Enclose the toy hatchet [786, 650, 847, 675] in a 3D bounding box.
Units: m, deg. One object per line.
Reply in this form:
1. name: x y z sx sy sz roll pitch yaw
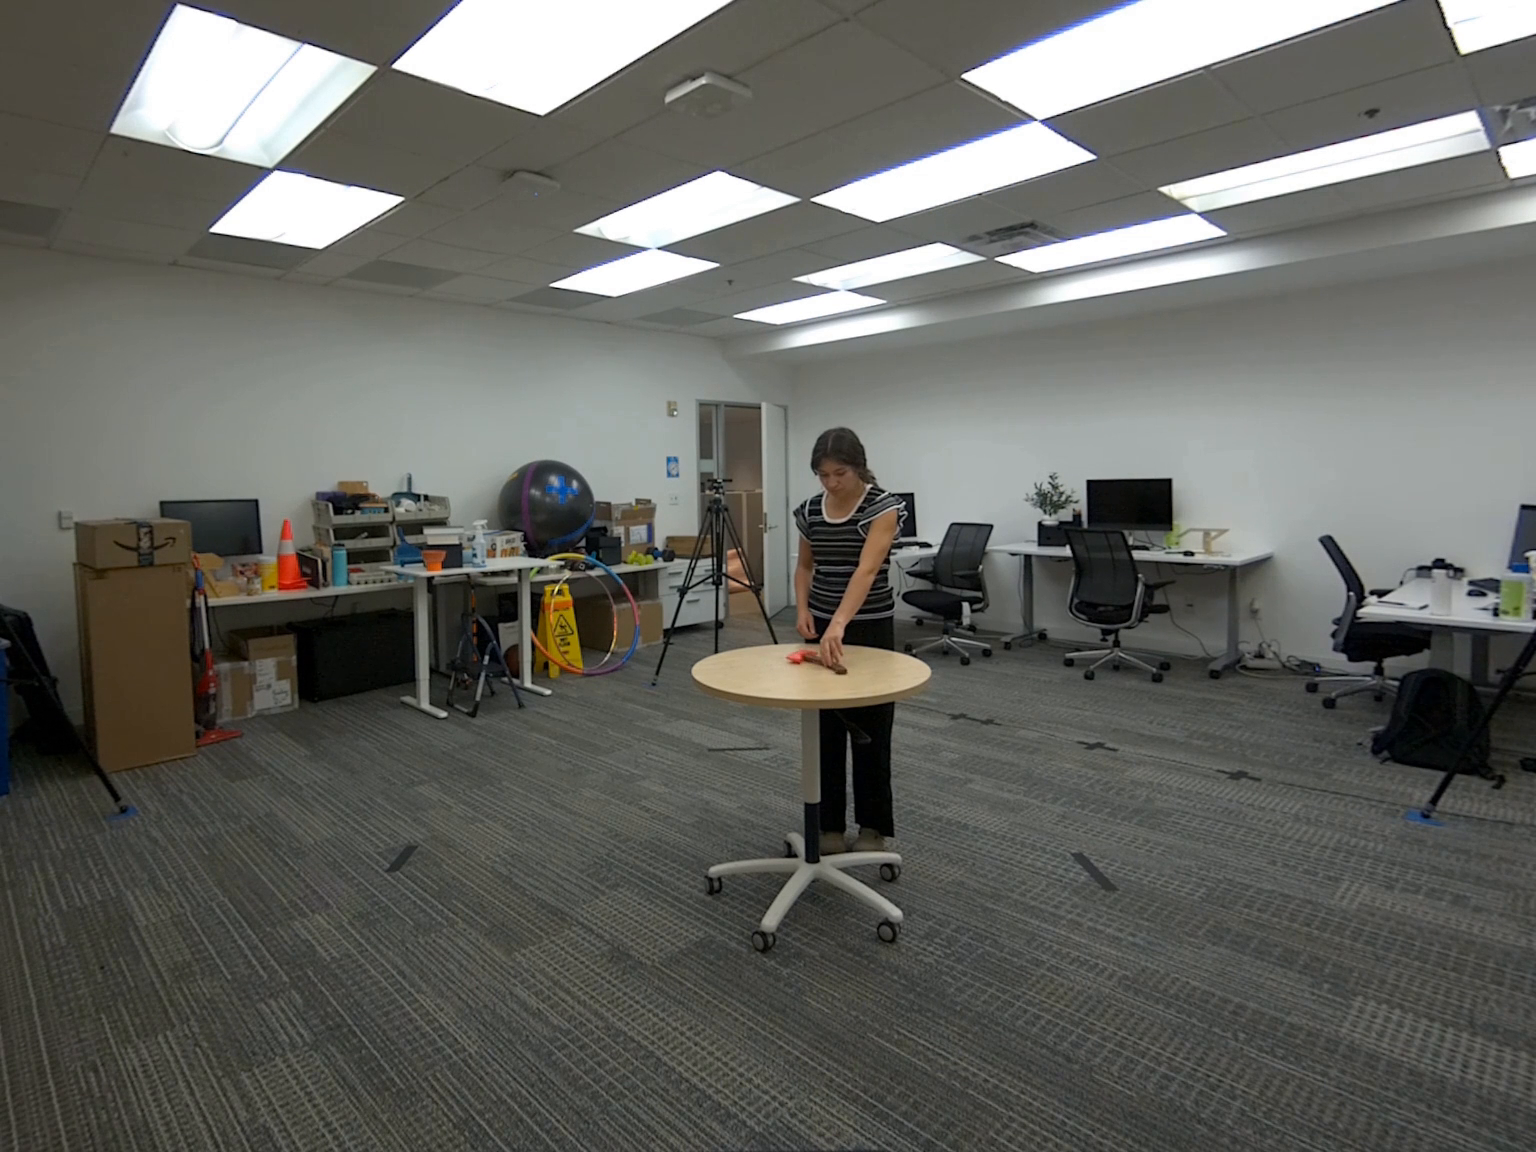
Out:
1. toy hatchet: 0.158 0.284 2.772 0.129 0.029 0.275 0 6 -15
